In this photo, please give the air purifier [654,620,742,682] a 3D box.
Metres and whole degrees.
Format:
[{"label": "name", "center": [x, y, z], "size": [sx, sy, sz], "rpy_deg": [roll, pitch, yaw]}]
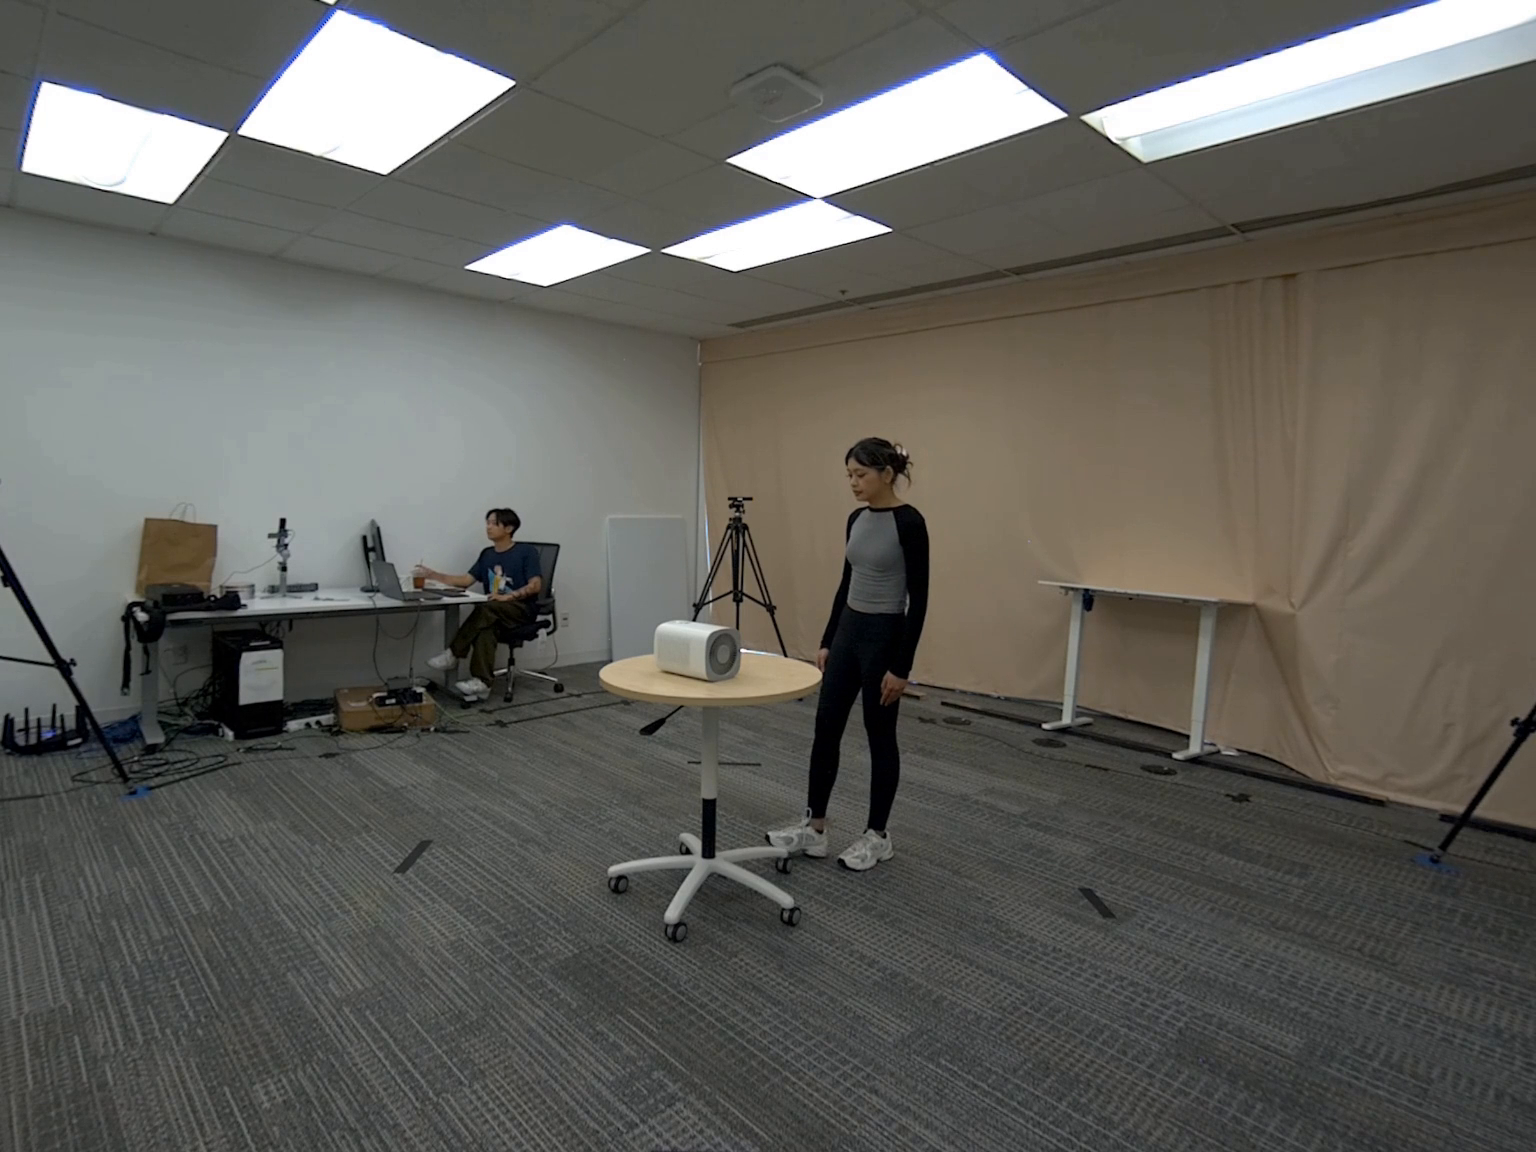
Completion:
[{"label": "air purifier", "center": [-0.251, 0.248, 2.852], "size": [0.272, 0.171, 0.167], "rpy_deg": [5, 7, 41]}]
